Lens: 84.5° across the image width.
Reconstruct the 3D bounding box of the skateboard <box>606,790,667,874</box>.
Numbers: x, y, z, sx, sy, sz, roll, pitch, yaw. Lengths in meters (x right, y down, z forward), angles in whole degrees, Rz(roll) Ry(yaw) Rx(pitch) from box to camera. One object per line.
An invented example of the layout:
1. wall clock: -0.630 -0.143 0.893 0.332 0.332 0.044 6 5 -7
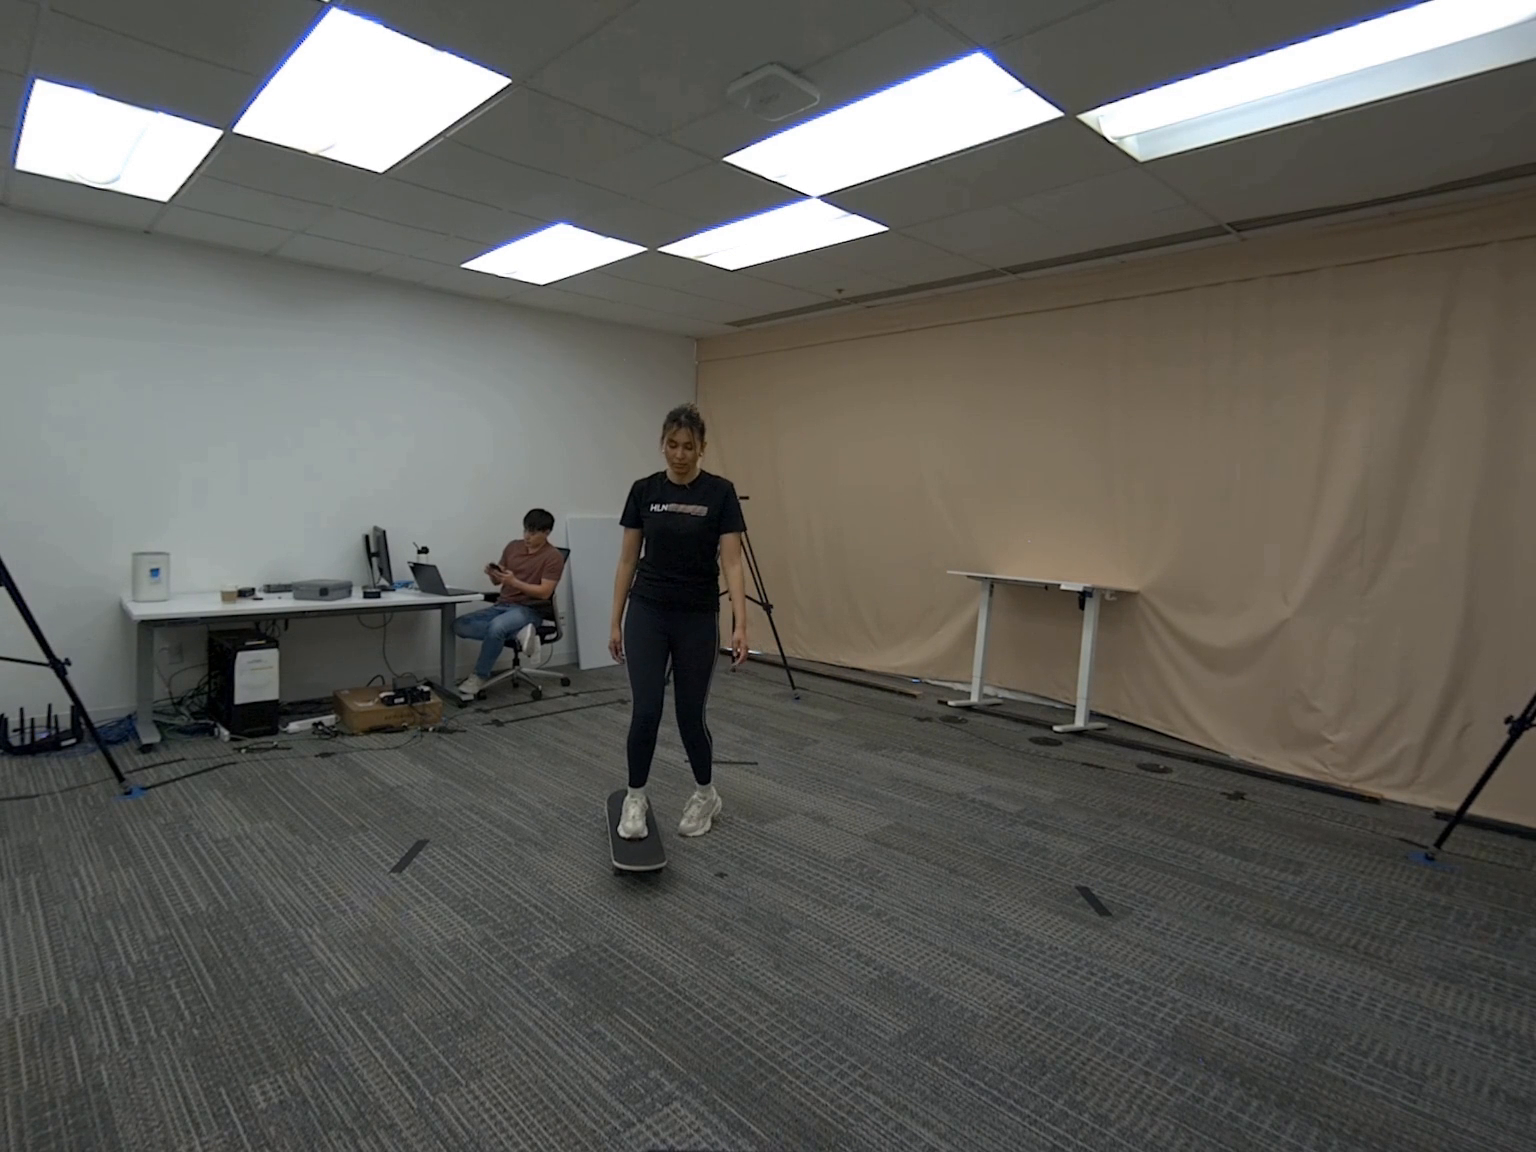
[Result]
1. skateboard: -0.532 1.021 3.292 0.191 0.110 0.796 0 6 -14
